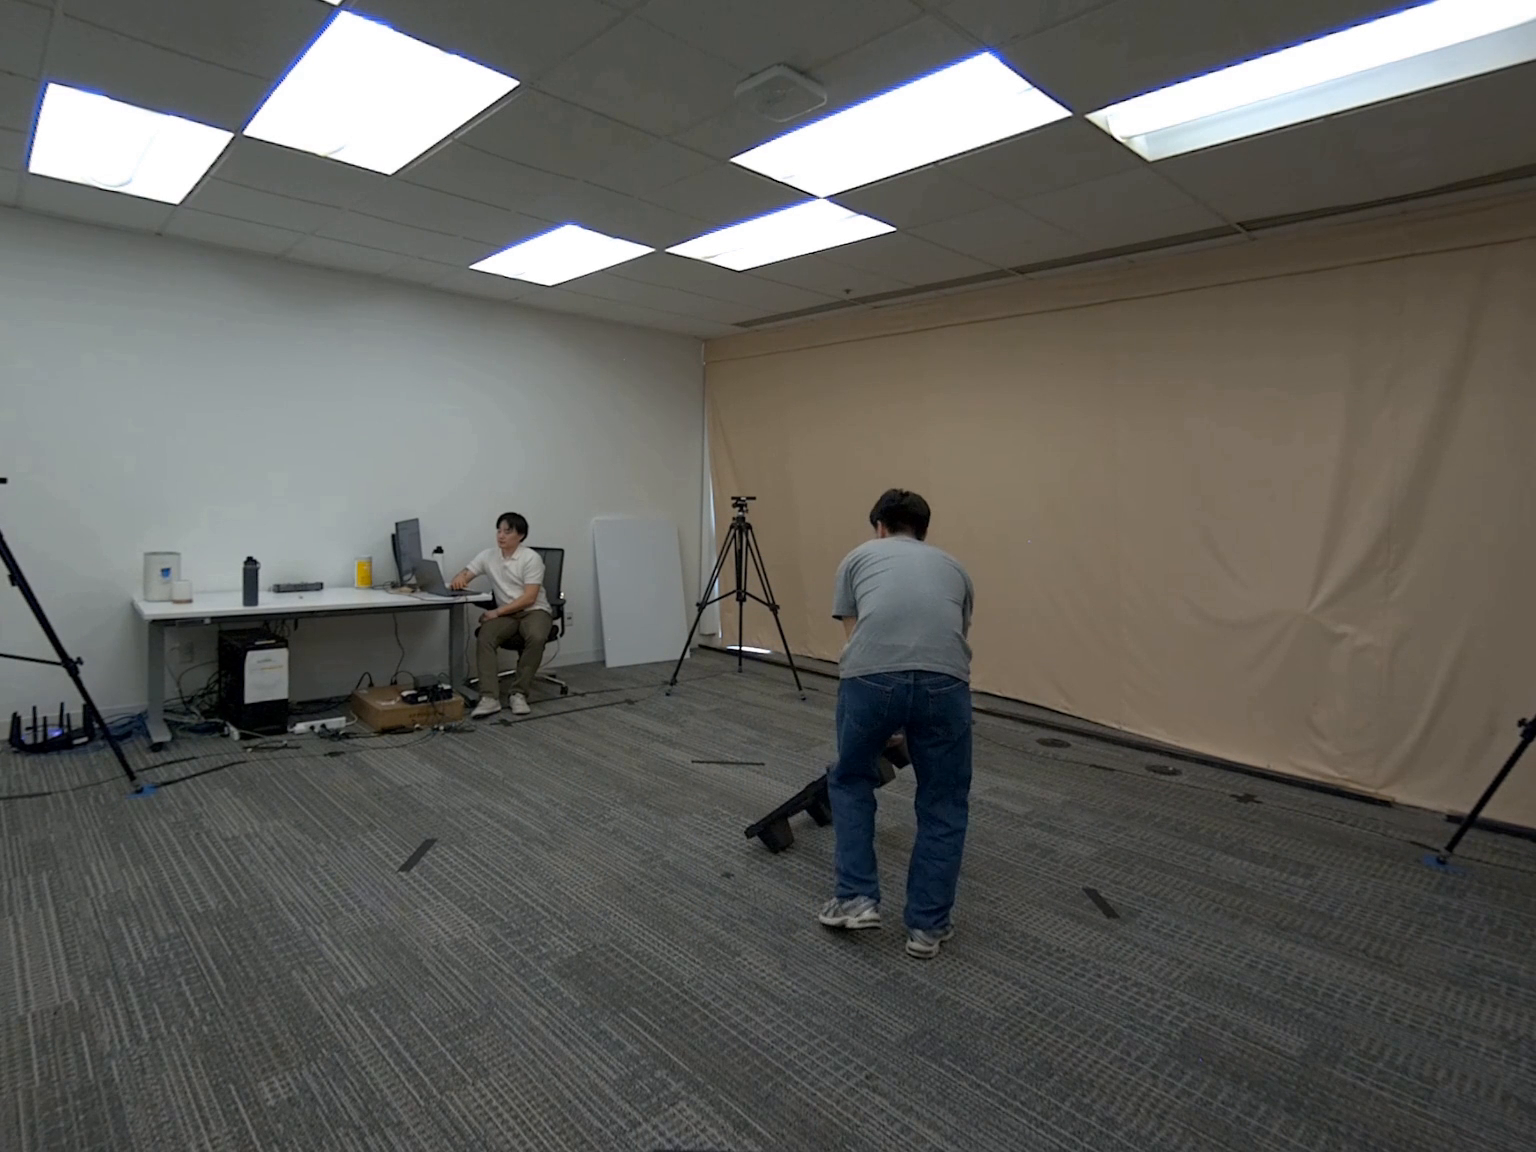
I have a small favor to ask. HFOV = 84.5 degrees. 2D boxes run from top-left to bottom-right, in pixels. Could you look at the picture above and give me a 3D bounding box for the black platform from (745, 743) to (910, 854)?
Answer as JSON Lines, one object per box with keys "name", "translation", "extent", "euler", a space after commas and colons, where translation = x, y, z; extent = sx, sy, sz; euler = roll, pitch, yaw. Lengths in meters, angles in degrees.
{"name": "black platform", "translation": [0.347, 0.806, 3.326], "extent": [0.806, 0.146, 0.593], "euler": [-43, -19, 29]}
